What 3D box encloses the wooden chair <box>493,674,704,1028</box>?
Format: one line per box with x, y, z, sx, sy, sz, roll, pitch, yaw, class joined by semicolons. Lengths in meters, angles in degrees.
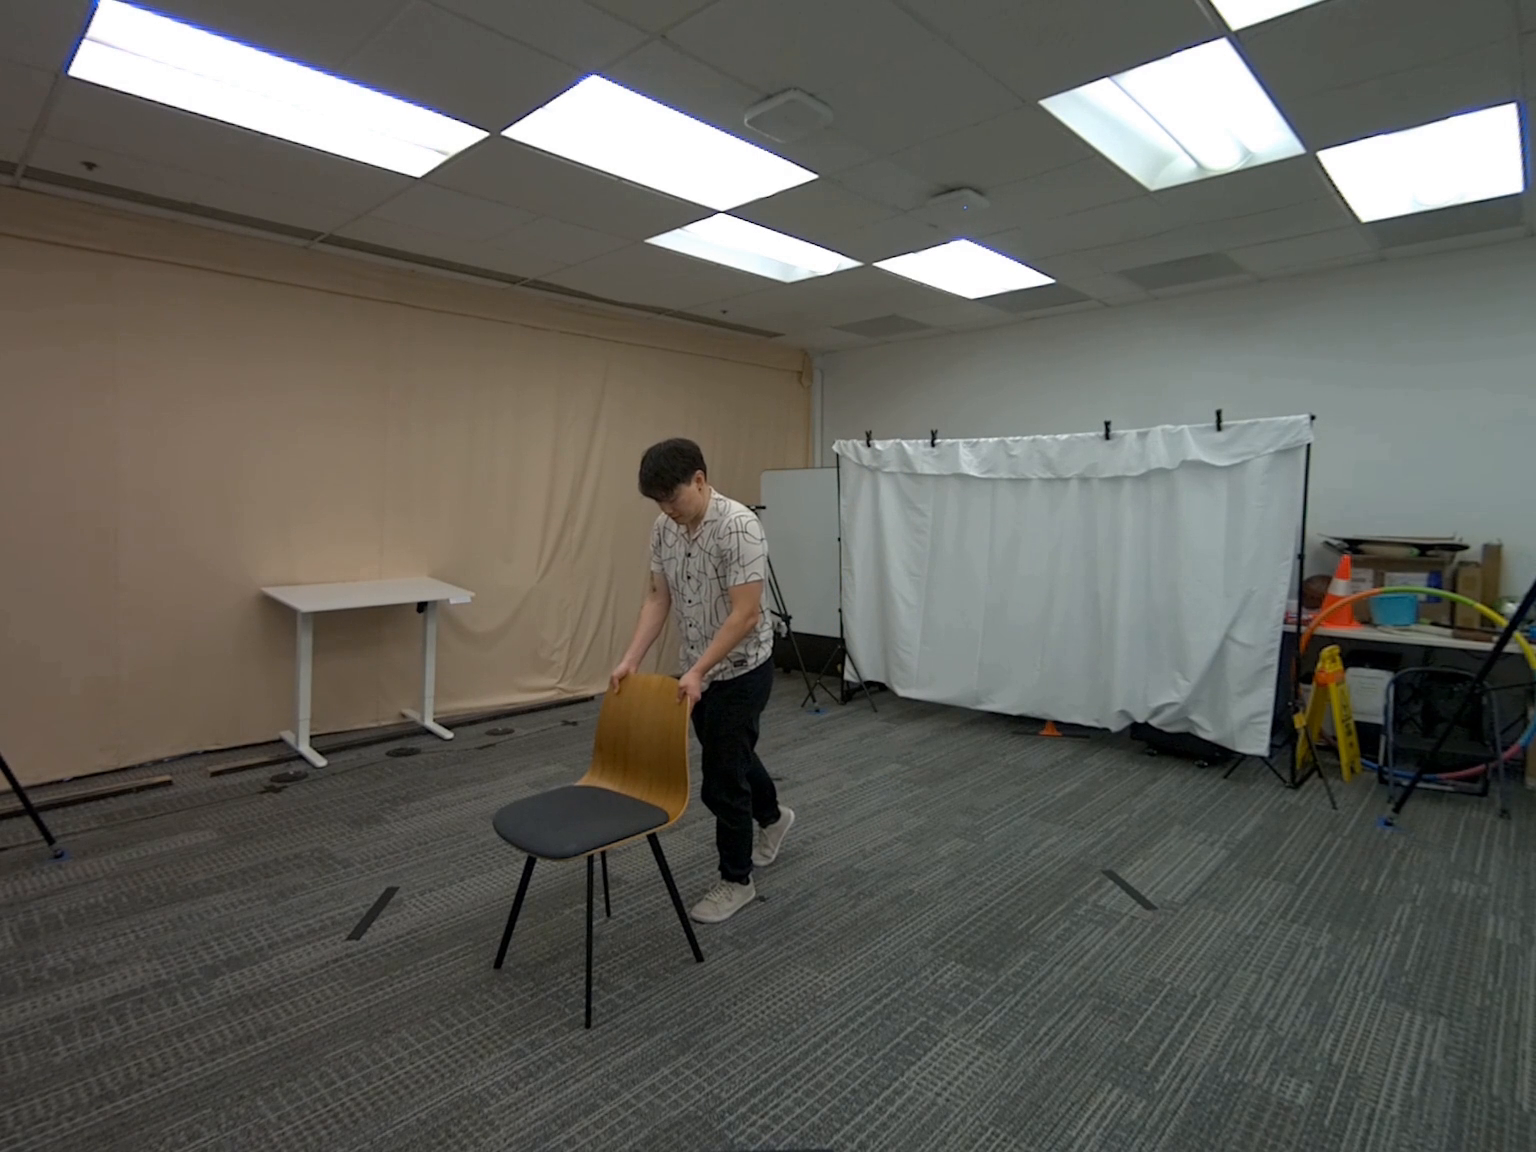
-0.513;0.757;2.525;0.494;0.877;0.506;3;0;40;wooden chair
